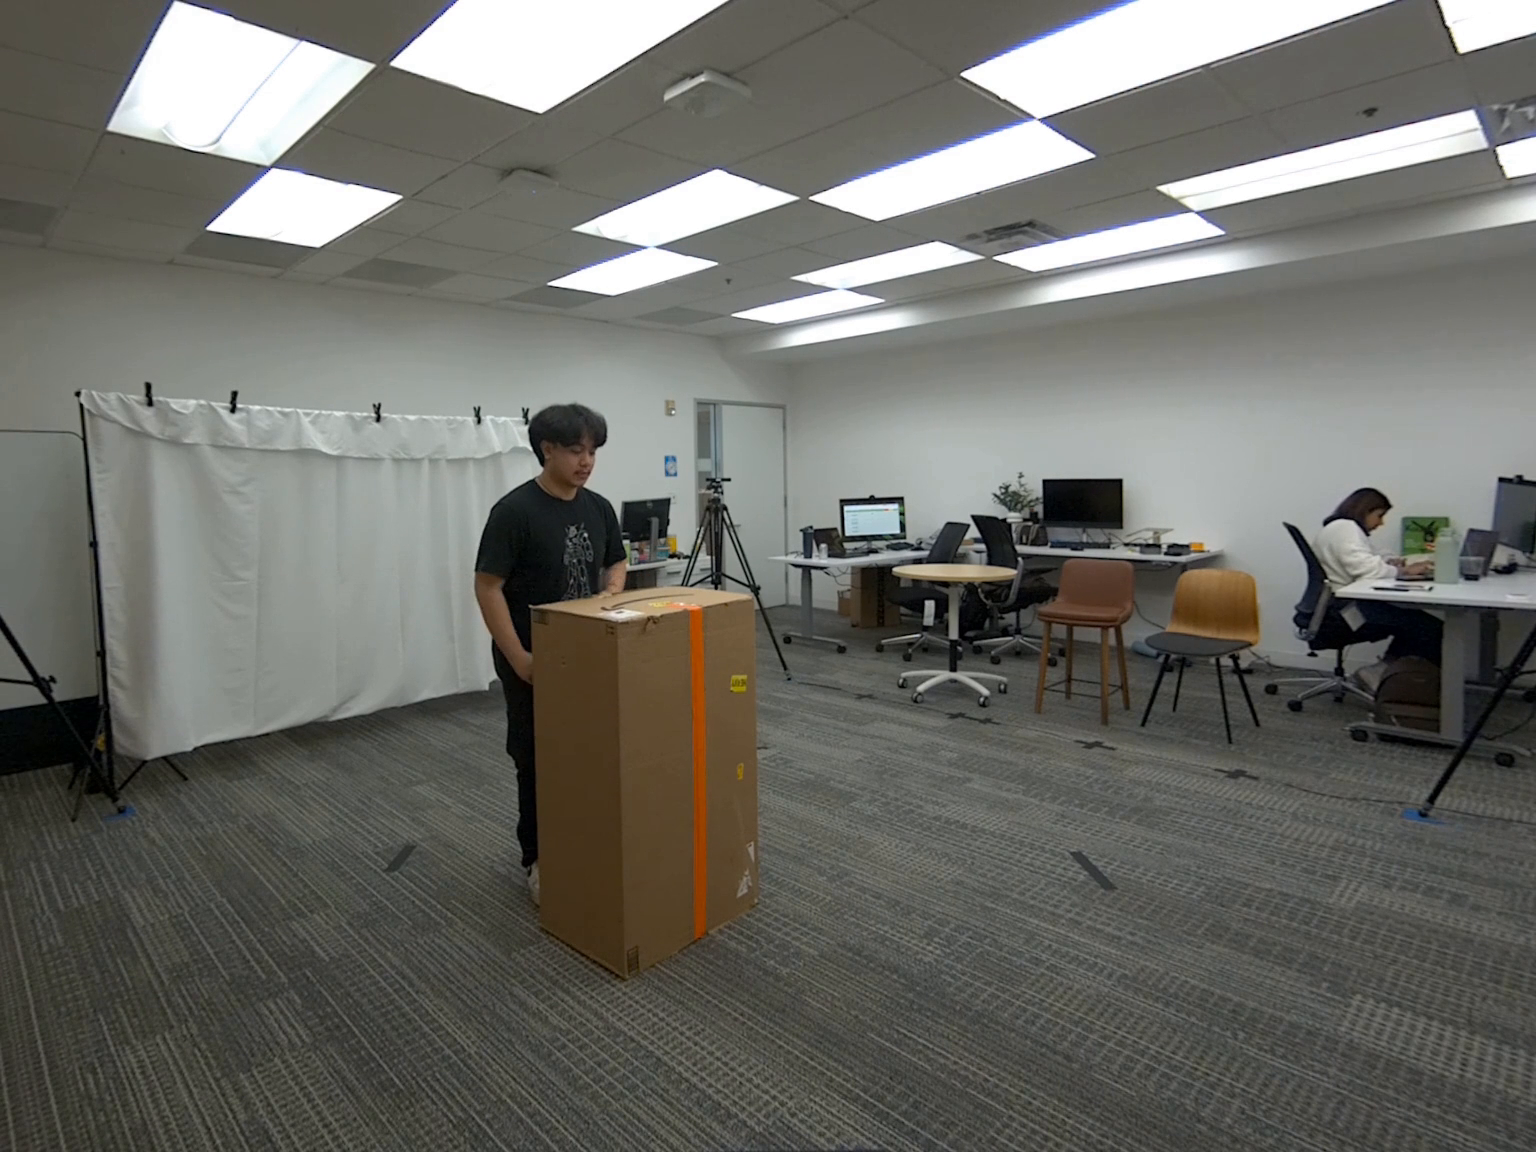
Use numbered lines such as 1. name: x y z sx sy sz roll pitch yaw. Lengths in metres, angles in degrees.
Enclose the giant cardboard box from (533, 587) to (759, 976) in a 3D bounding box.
1. giant cardboard box: -0.374 0.584 2.706 0.461 1.023 0.568 4 7 43
